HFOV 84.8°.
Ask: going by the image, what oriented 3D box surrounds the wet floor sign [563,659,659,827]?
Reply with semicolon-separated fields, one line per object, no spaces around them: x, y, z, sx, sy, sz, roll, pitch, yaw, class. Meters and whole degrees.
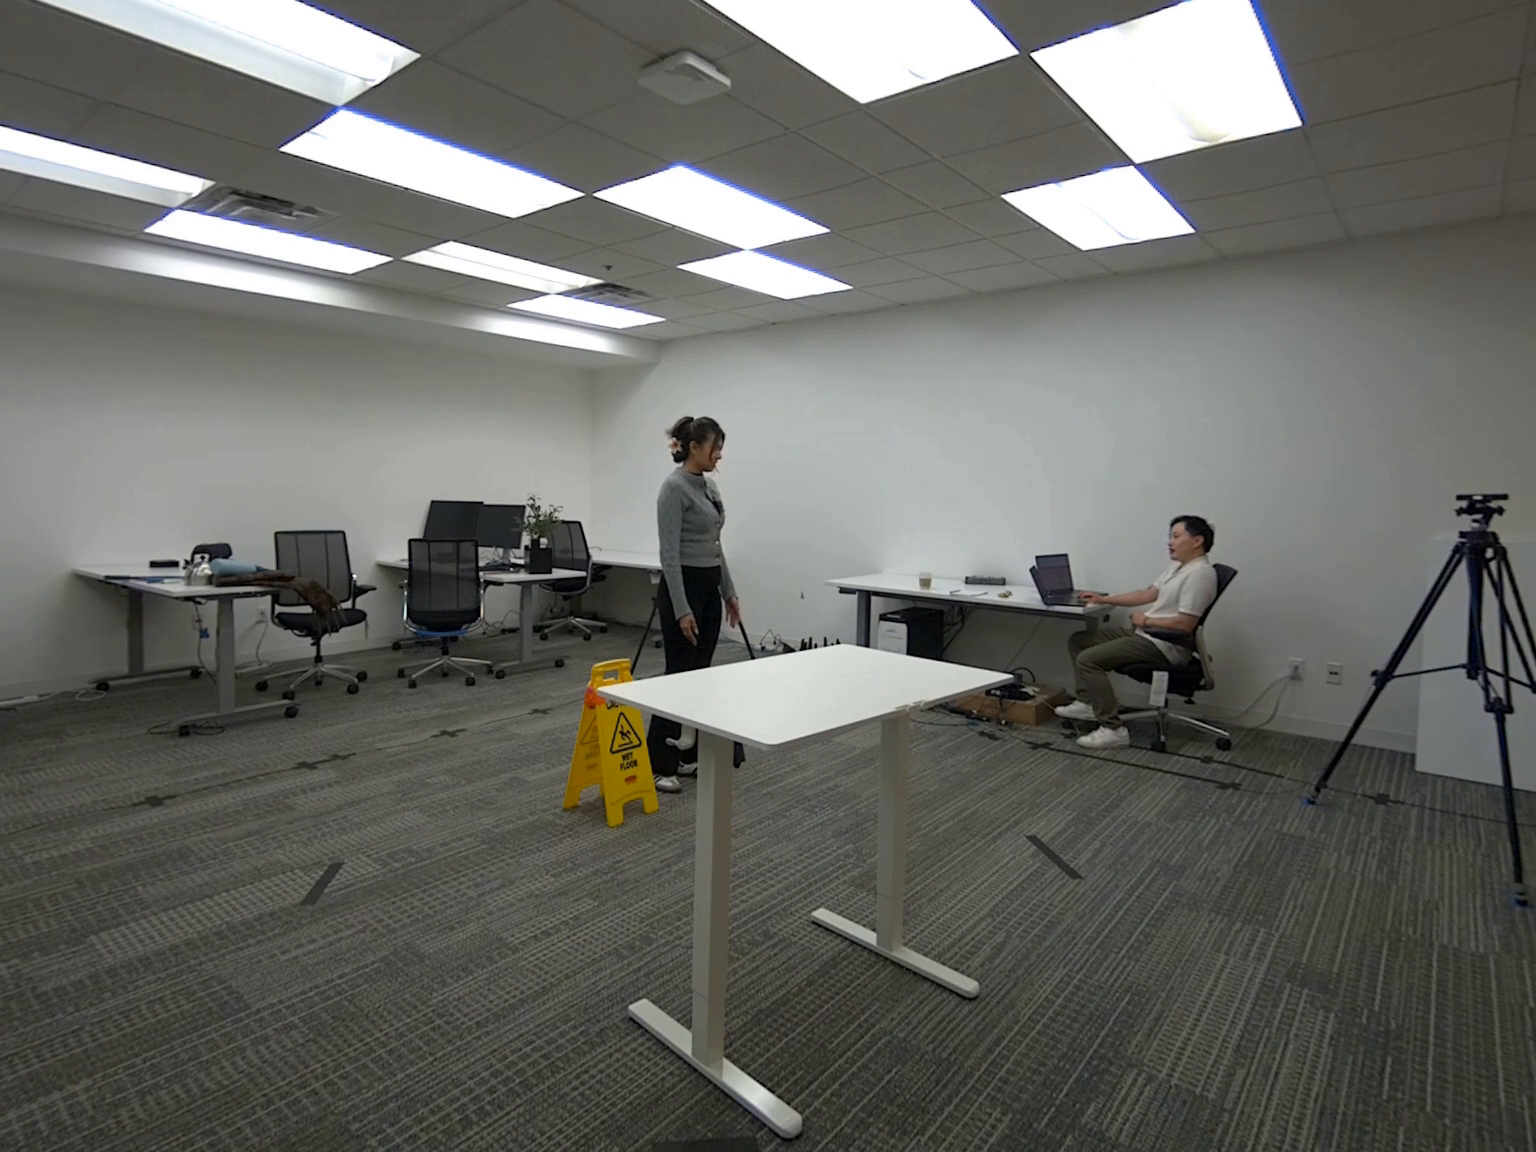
-0.686;0.687;3.657;0.299;0.644;0.274;4;4;40;wet floor sign
